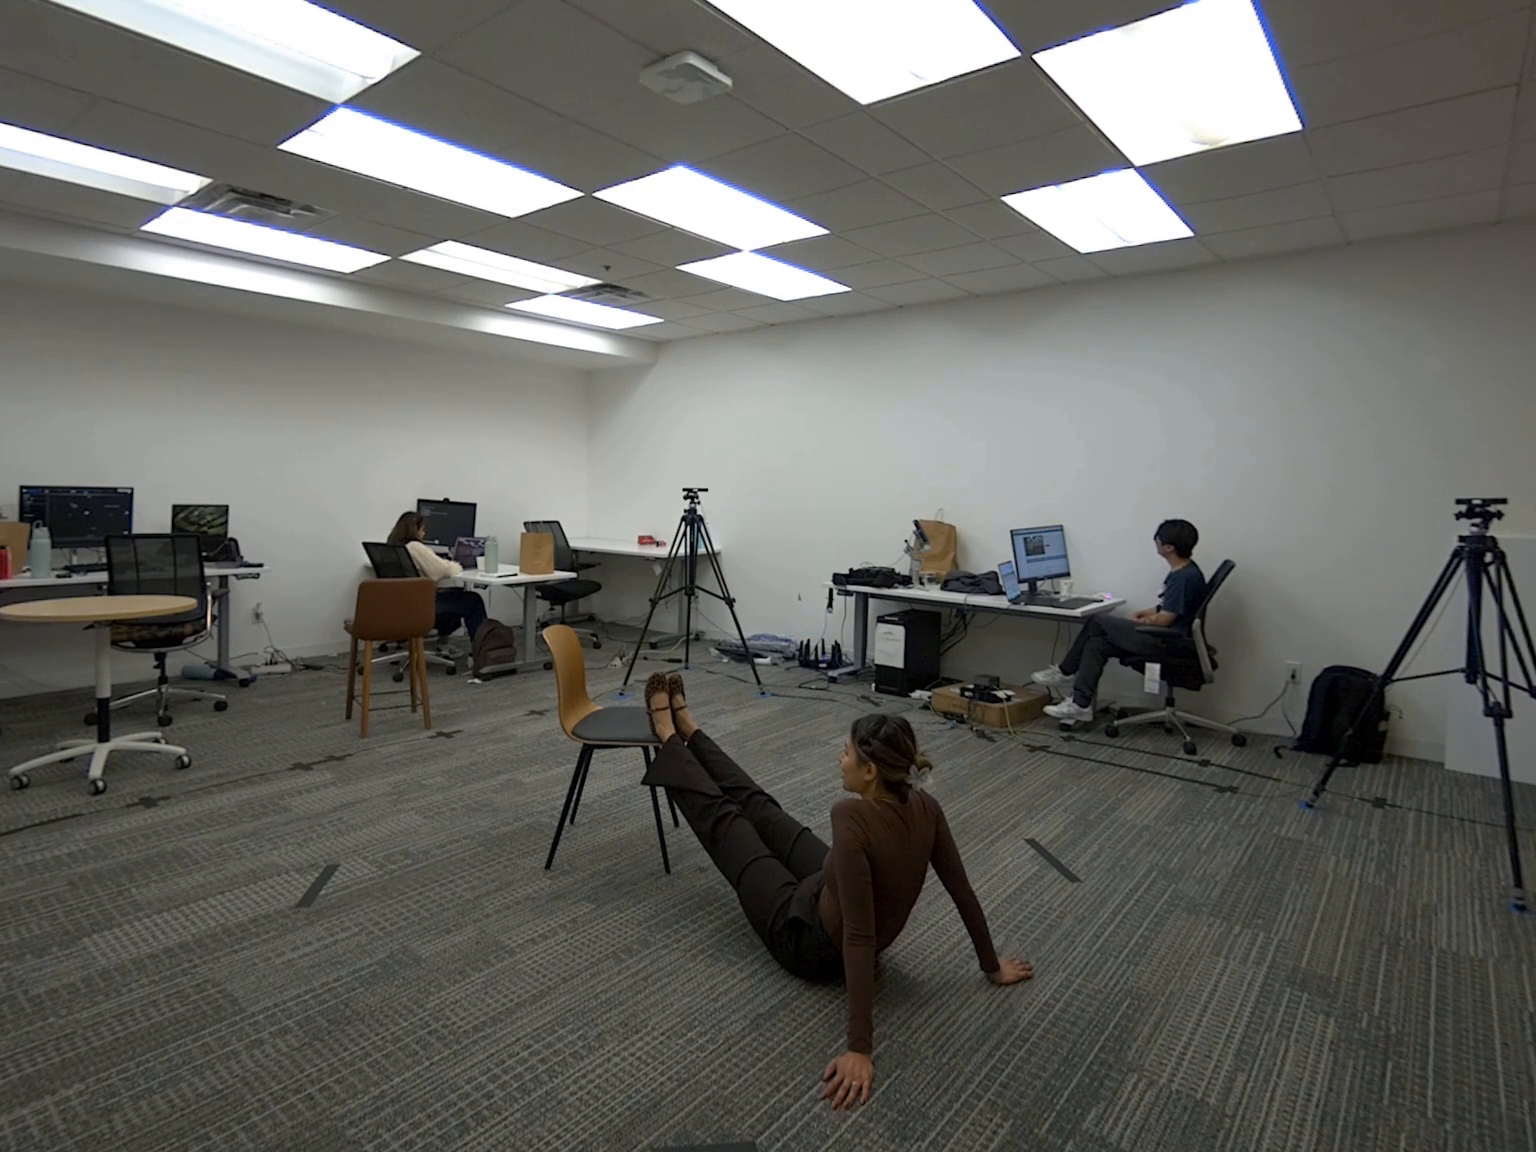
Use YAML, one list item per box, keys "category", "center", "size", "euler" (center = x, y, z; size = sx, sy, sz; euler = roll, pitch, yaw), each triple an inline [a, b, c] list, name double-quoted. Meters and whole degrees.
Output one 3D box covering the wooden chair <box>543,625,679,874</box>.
- category: "wooden chair"
  center: [-0.583, 0.620, 3.267]
  size: [0.524, 0.875, 0.479]
  euler: [-3, 3, 1]
